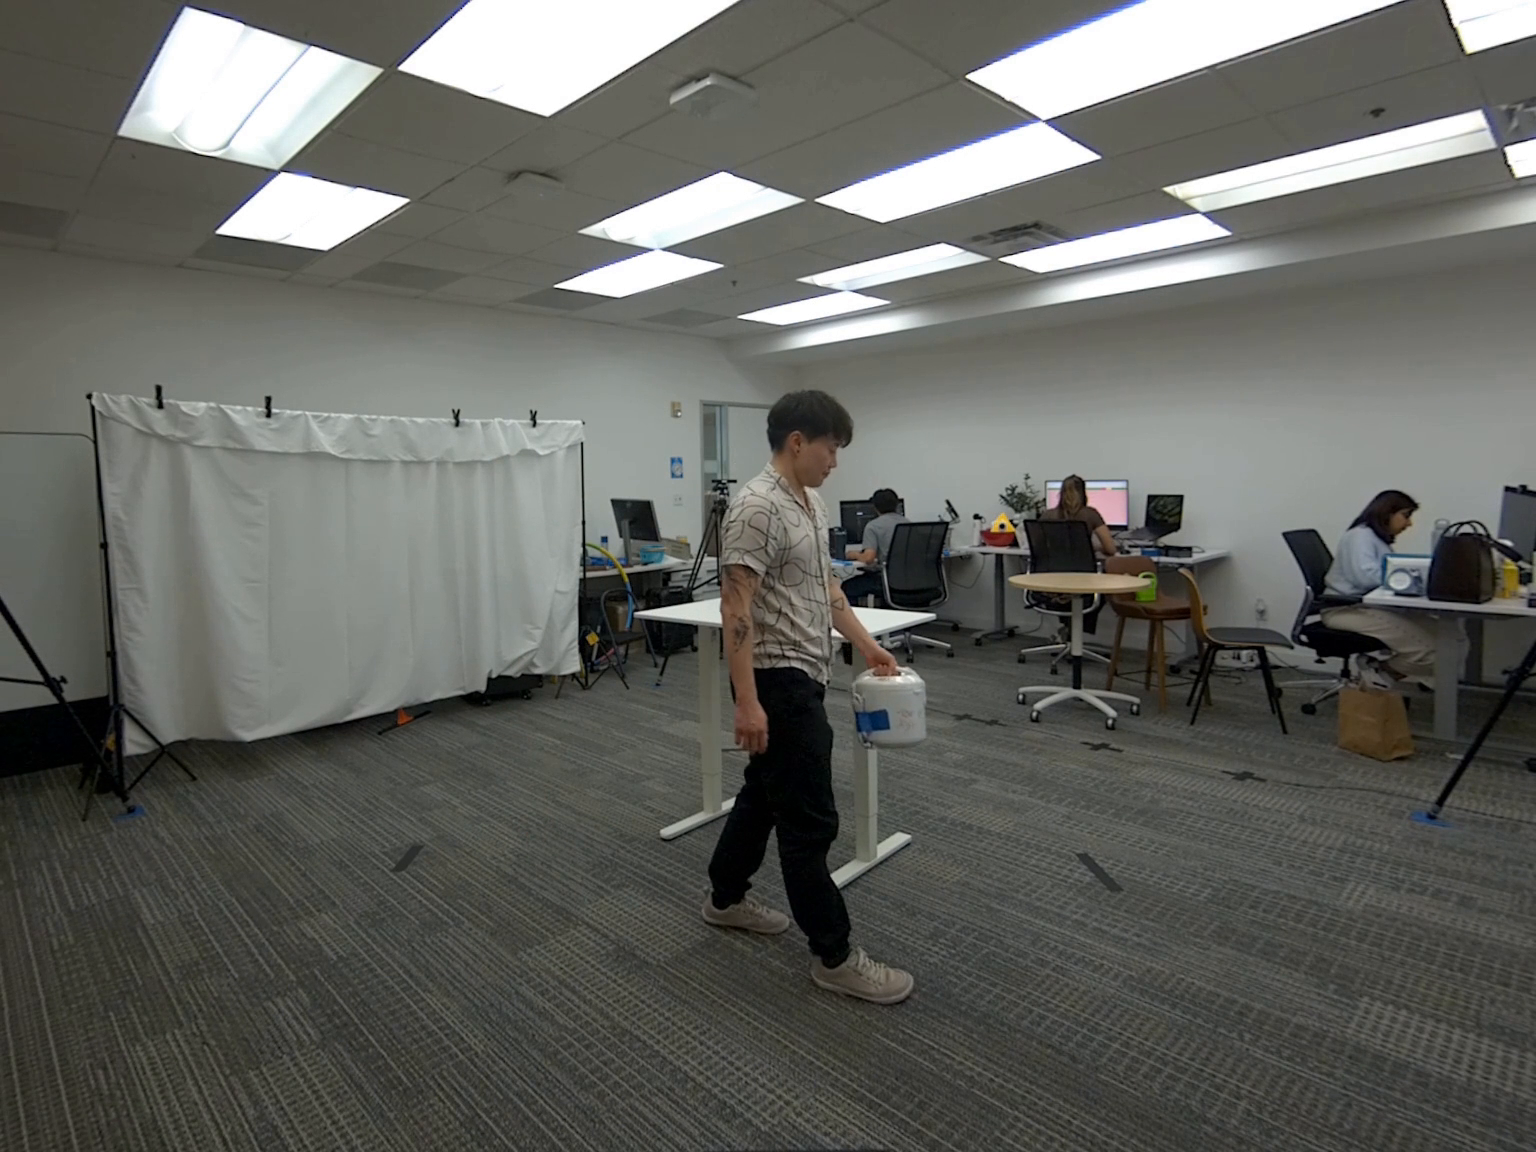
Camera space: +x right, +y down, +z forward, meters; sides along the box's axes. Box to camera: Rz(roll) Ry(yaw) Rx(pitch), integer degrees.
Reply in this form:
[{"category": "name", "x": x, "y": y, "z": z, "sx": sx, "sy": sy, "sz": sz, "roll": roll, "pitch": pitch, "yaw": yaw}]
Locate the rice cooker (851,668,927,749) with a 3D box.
[{"category": "rice cooker", "x": 0.348, "y": 0.384, "z": 2.542, "sx": 0.223, "sy": 0.233, "sz": 0.215, "roll": -2, "pitch": -2, "yaw": 9}]
